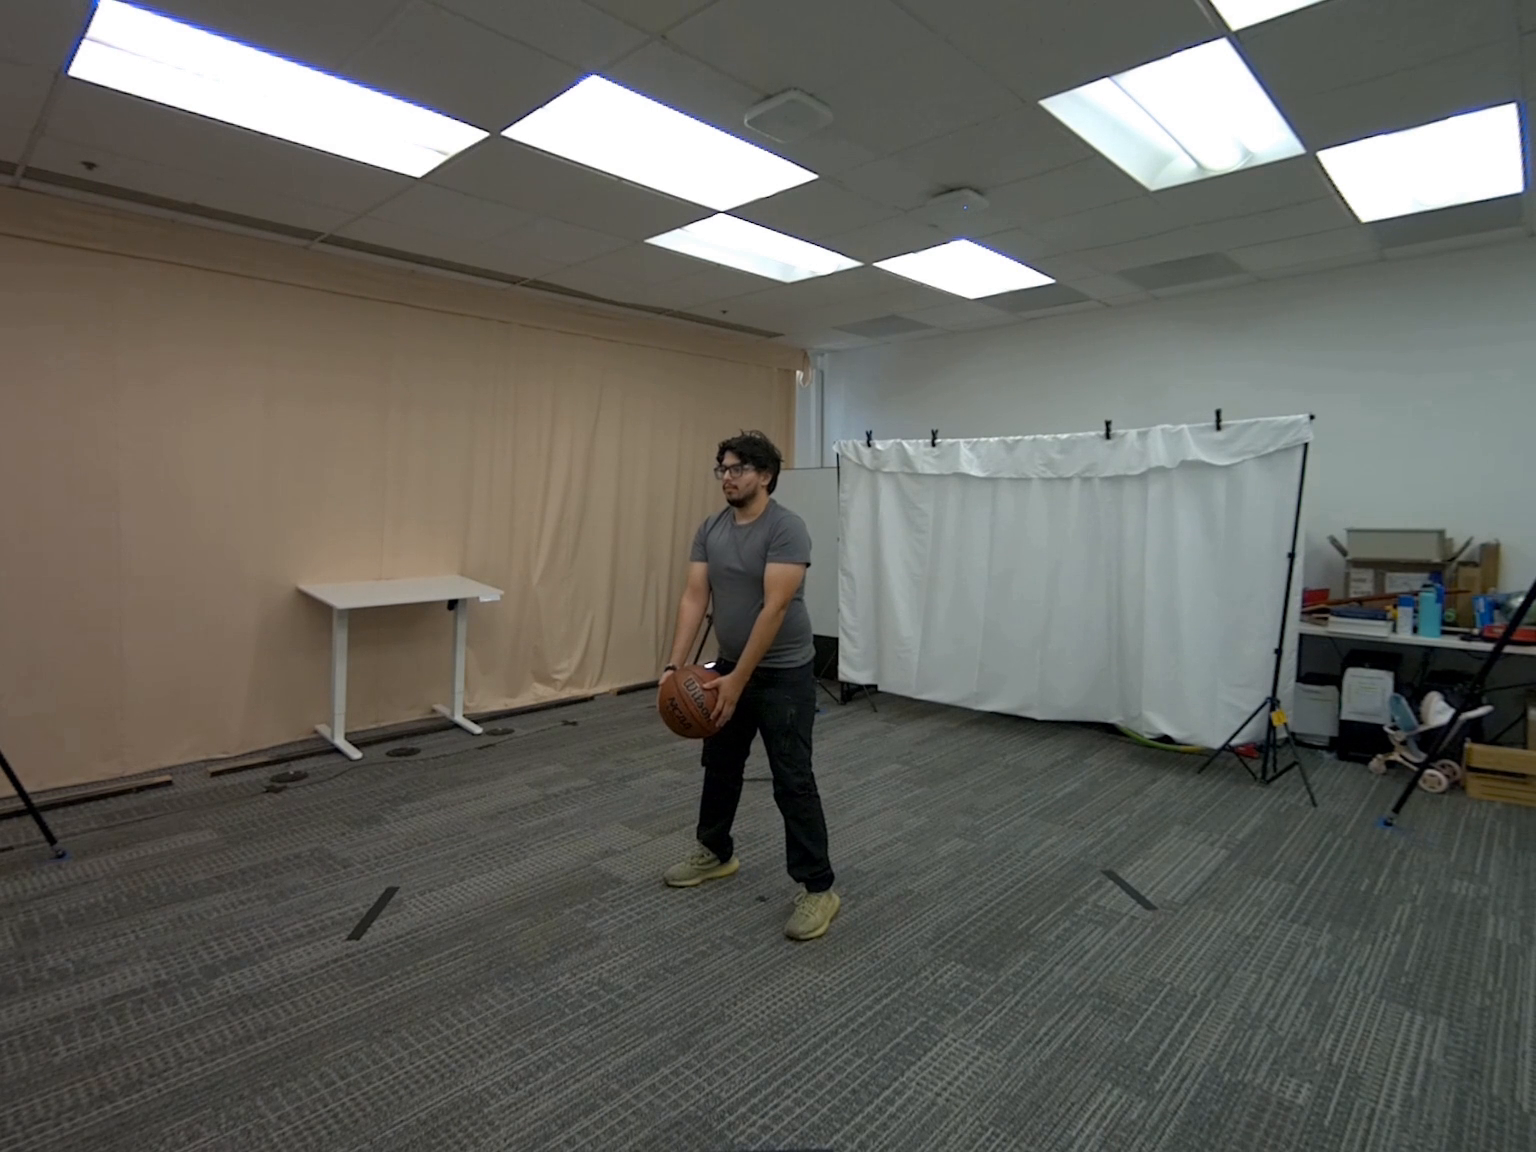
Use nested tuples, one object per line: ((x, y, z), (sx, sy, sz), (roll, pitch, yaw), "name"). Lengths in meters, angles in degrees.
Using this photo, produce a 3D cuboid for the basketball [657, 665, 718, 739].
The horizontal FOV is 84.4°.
((-0.239, 0.407, 2.741), (0.236, 0.235, 0.237), (0, 4, -2), "basketball")
